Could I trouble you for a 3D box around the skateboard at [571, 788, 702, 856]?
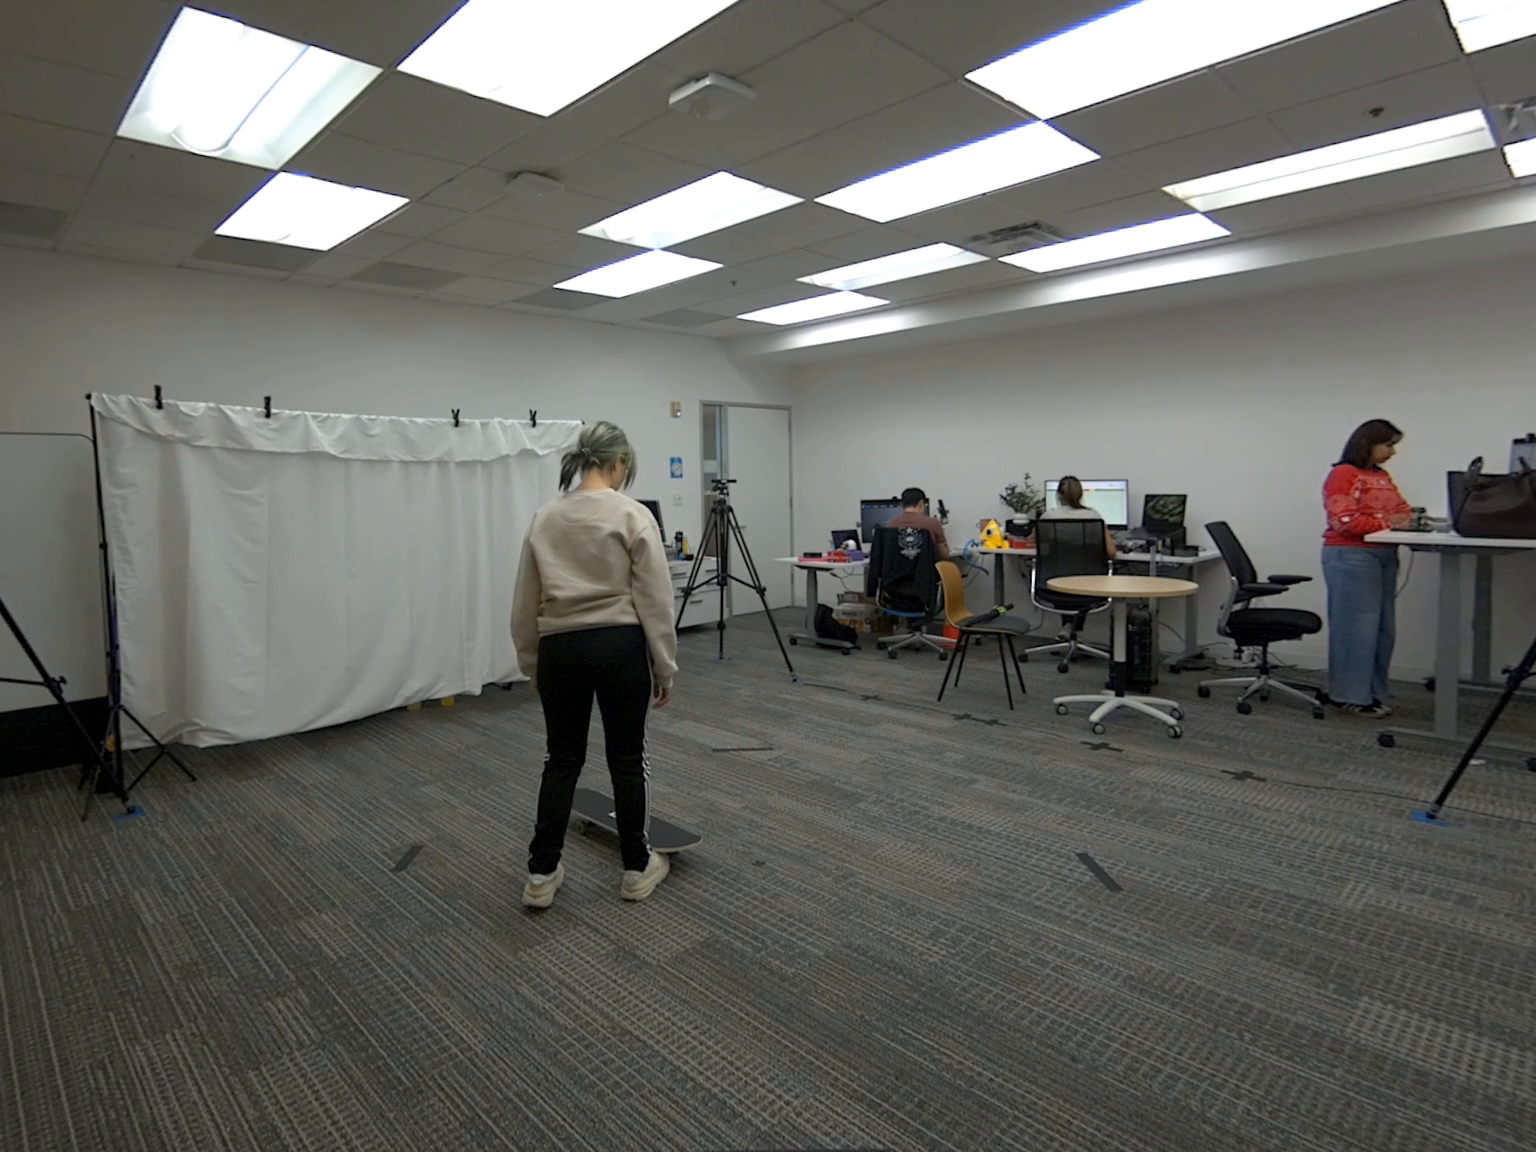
[{"bbox_3d":[-0.549,0.981,3.315,0.188,0.110,0.810,-5,7,-44],"label":"skateboard"}]
